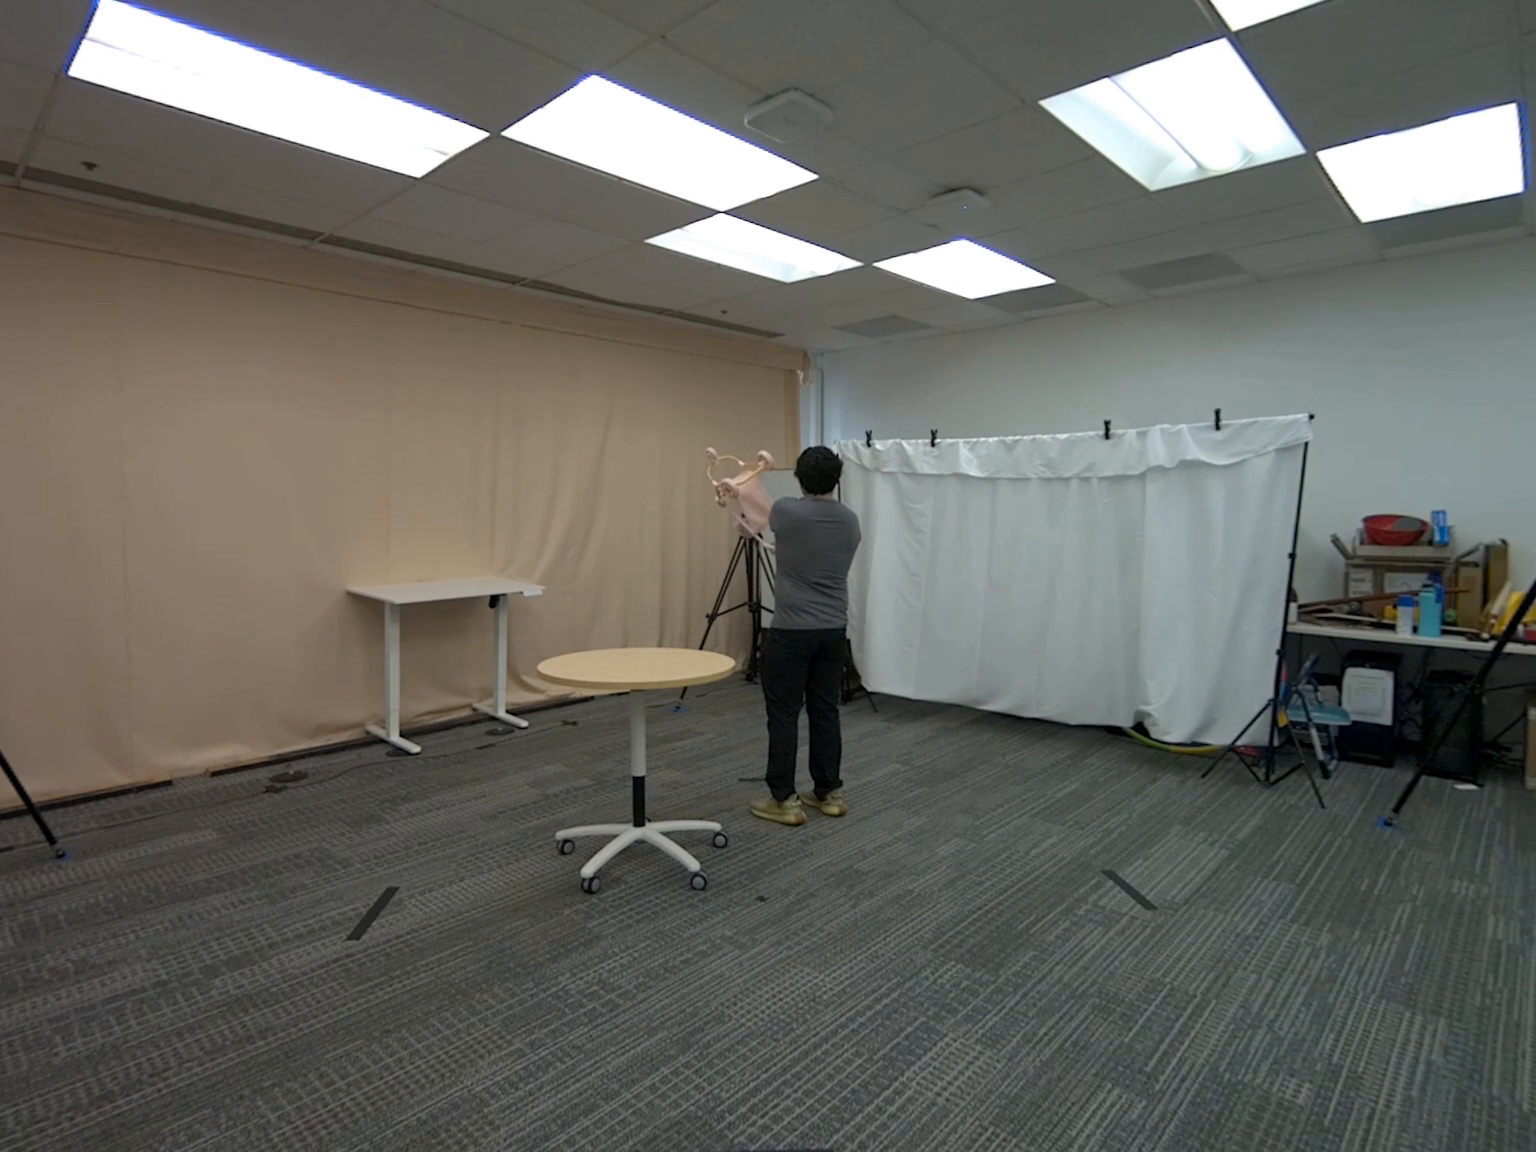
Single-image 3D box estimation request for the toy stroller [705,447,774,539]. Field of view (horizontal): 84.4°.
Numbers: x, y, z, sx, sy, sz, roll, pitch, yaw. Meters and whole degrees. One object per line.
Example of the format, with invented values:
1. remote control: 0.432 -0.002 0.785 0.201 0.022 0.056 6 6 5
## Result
1. toy stroller: -0.122 -0.393 4.225 0.354 0.520 0.279 14 48 45
